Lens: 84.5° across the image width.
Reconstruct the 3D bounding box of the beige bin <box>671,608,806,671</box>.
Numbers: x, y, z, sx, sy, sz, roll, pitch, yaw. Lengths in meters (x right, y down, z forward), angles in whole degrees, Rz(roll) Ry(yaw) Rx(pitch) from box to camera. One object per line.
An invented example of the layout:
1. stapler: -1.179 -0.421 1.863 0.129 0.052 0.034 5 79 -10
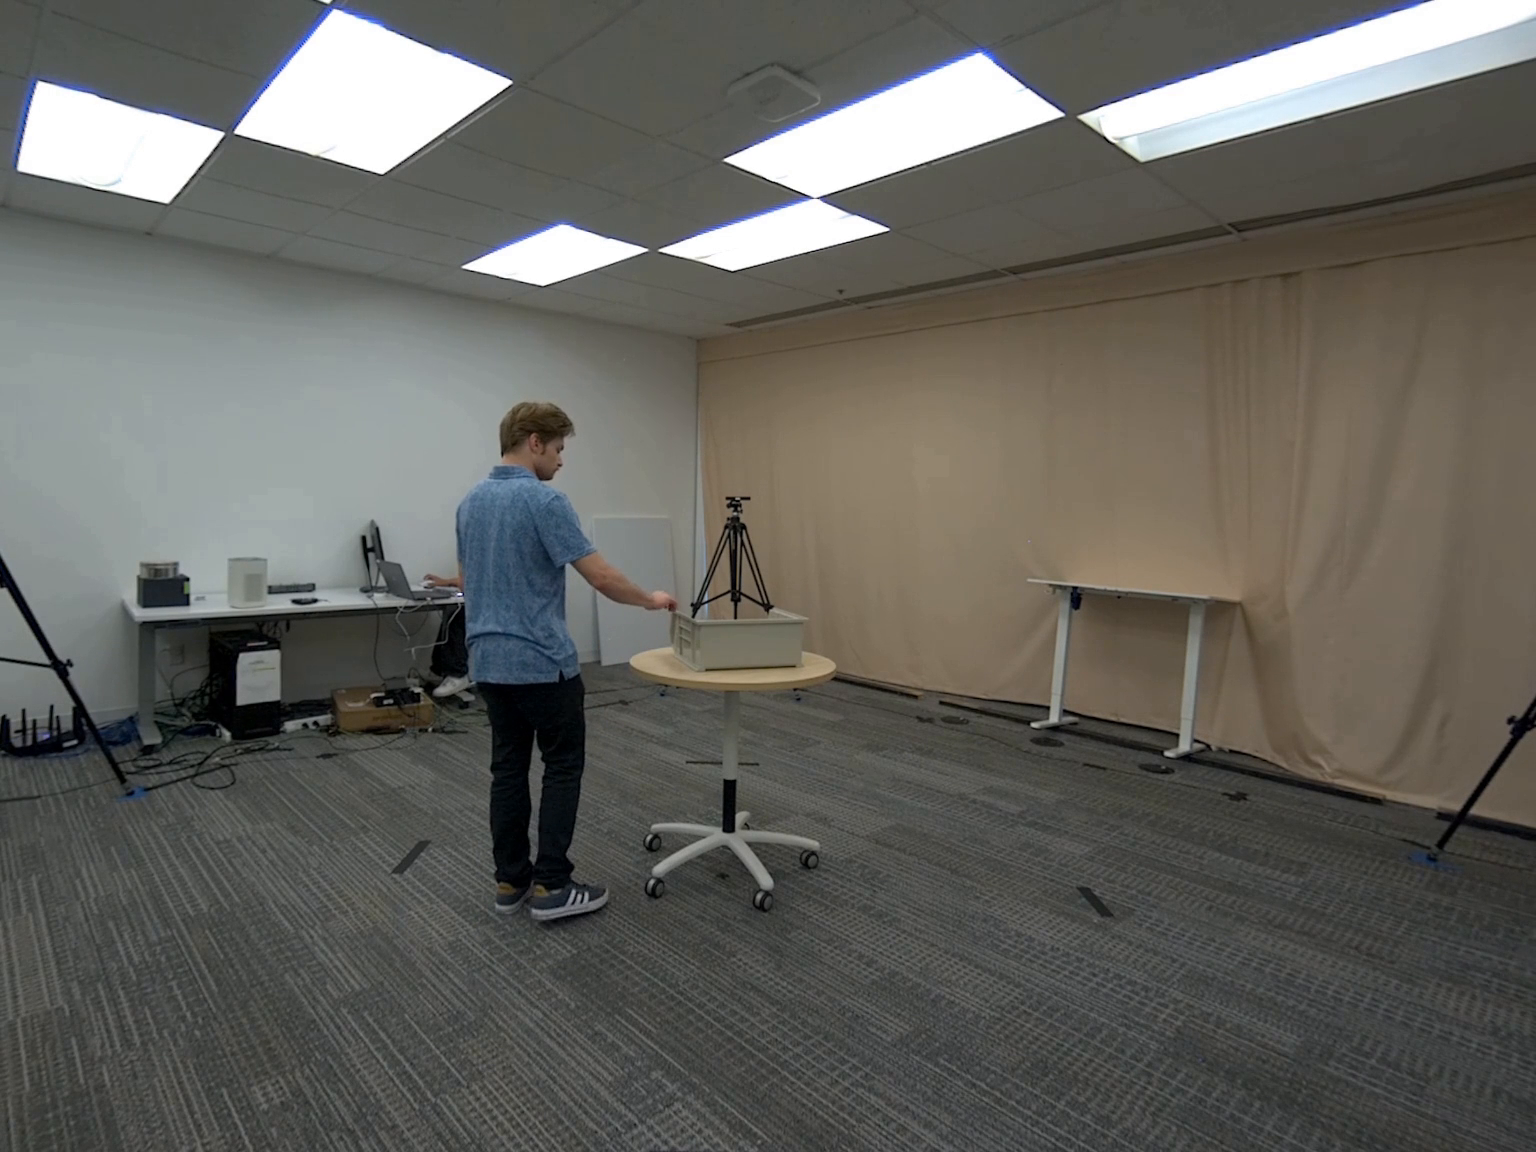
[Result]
1. beige bin: -0.124 0.229 3.151 0.416 0.188 0.384 0 6 -20
